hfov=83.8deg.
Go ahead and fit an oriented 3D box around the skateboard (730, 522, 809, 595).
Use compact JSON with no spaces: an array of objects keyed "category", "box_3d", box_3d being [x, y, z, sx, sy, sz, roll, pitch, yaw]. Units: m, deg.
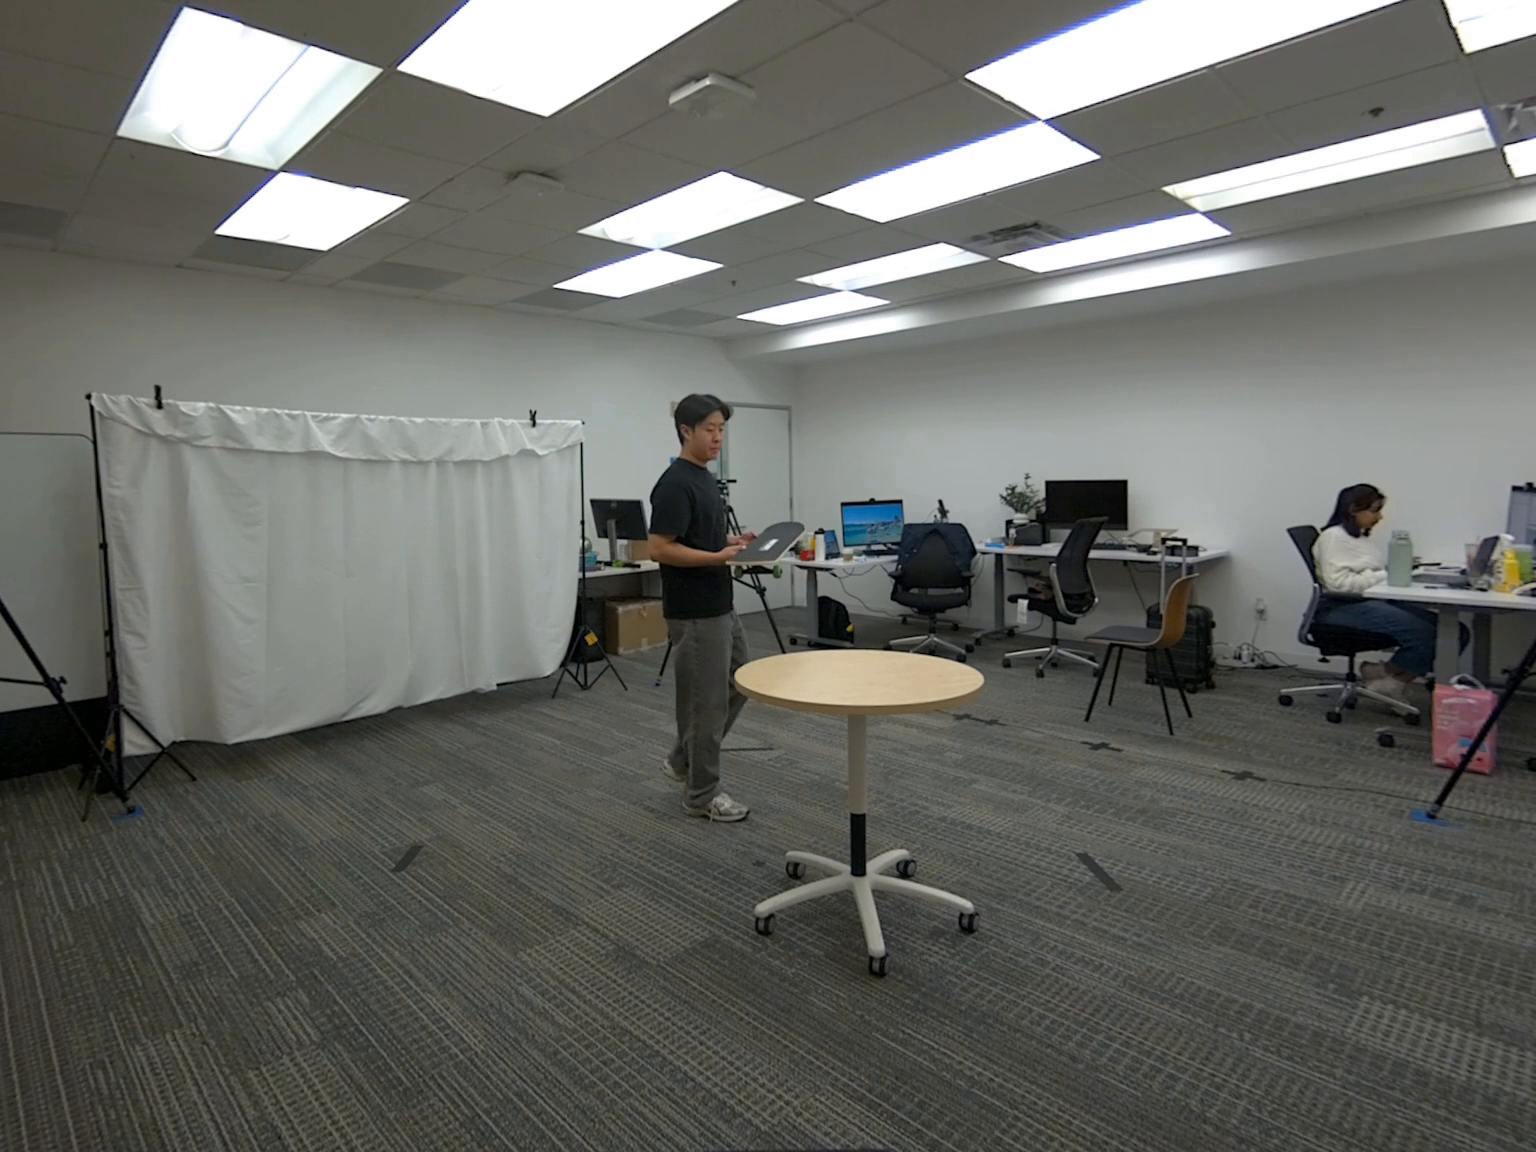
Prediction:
[{"category":"skateboard","box_3d":[0.001,-0.086,3.471,0.196,0.109,0.784,-2,14,13]}]
